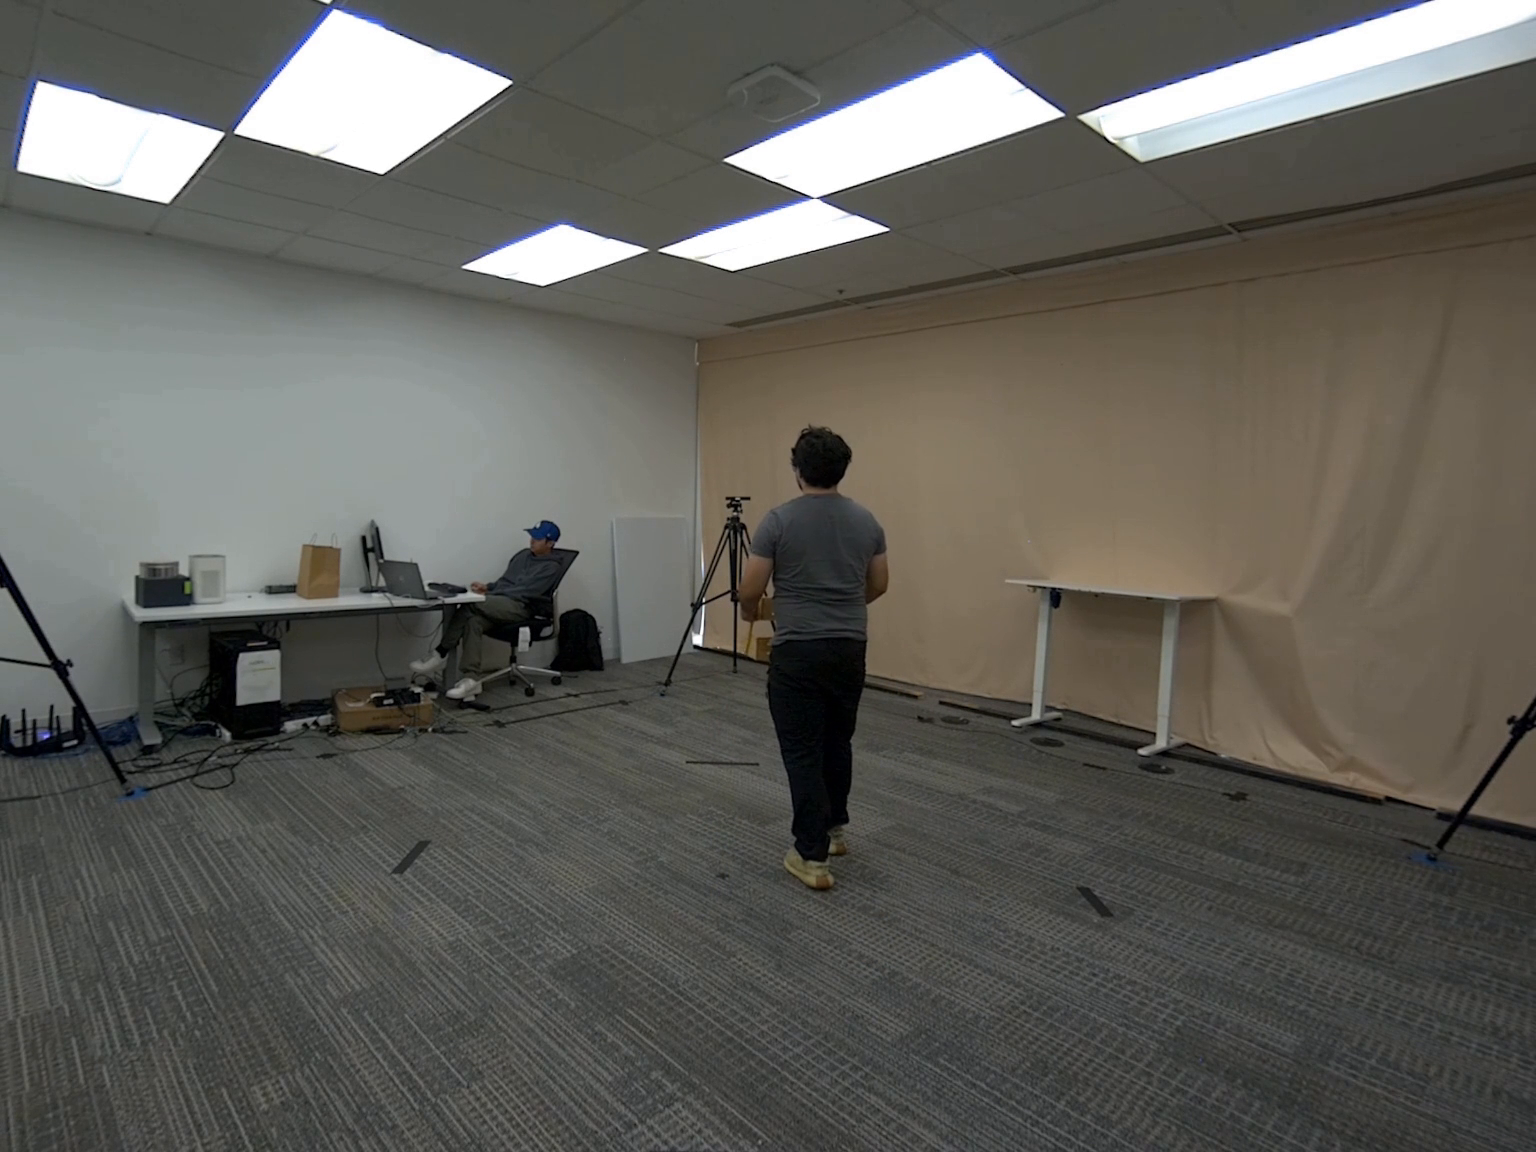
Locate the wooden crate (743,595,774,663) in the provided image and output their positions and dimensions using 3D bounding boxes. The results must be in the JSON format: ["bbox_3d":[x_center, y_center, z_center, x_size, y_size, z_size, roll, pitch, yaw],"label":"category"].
[{"bbox_3d":[0.071,0.201,3.509,0.320,0.273,0.306,3,4,-16],"label":"wooden crate"}]
